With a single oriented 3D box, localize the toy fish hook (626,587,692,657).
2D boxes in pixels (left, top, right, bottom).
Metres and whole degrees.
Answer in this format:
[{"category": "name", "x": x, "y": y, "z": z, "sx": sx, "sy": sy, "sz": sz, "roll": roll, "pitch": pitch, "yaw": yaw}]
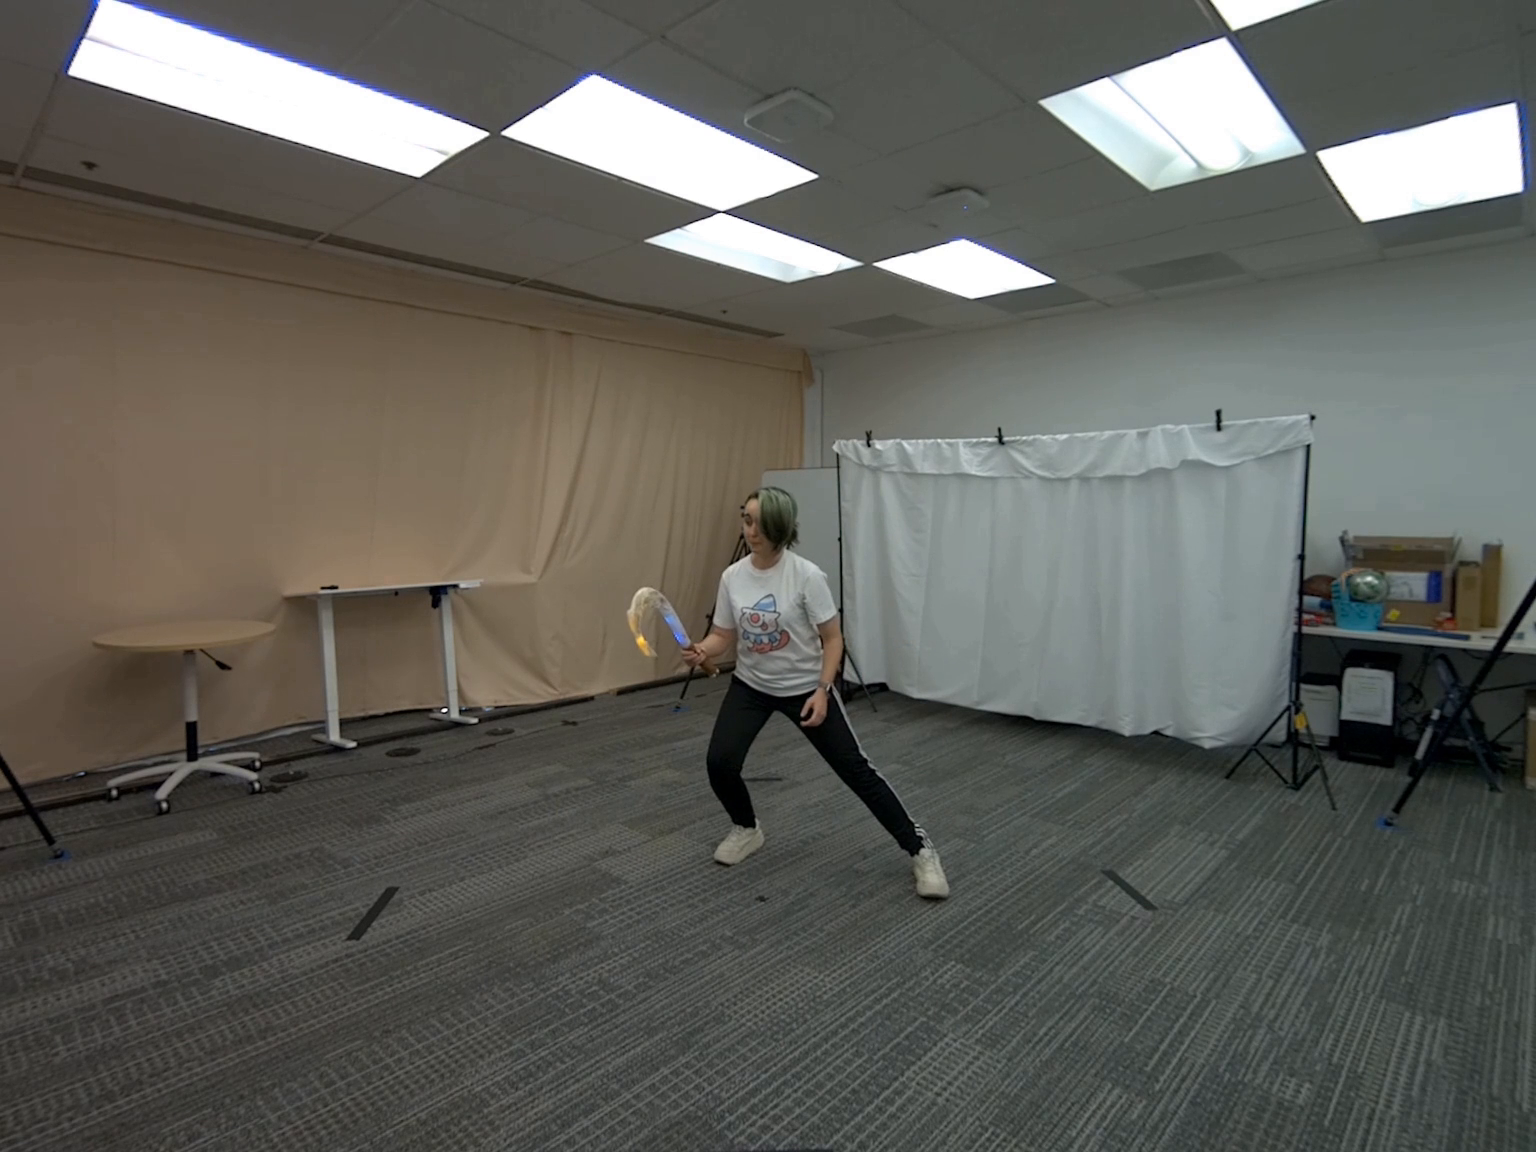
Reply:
[{"category": "toy fish hook", "x": -0.323, "y": 0.243, "z": 2.976, "sx": 0.050, "sy": 0.225, "sz": 0.491, "roll": -6, "pitch": -45, "yaw": 39}]
